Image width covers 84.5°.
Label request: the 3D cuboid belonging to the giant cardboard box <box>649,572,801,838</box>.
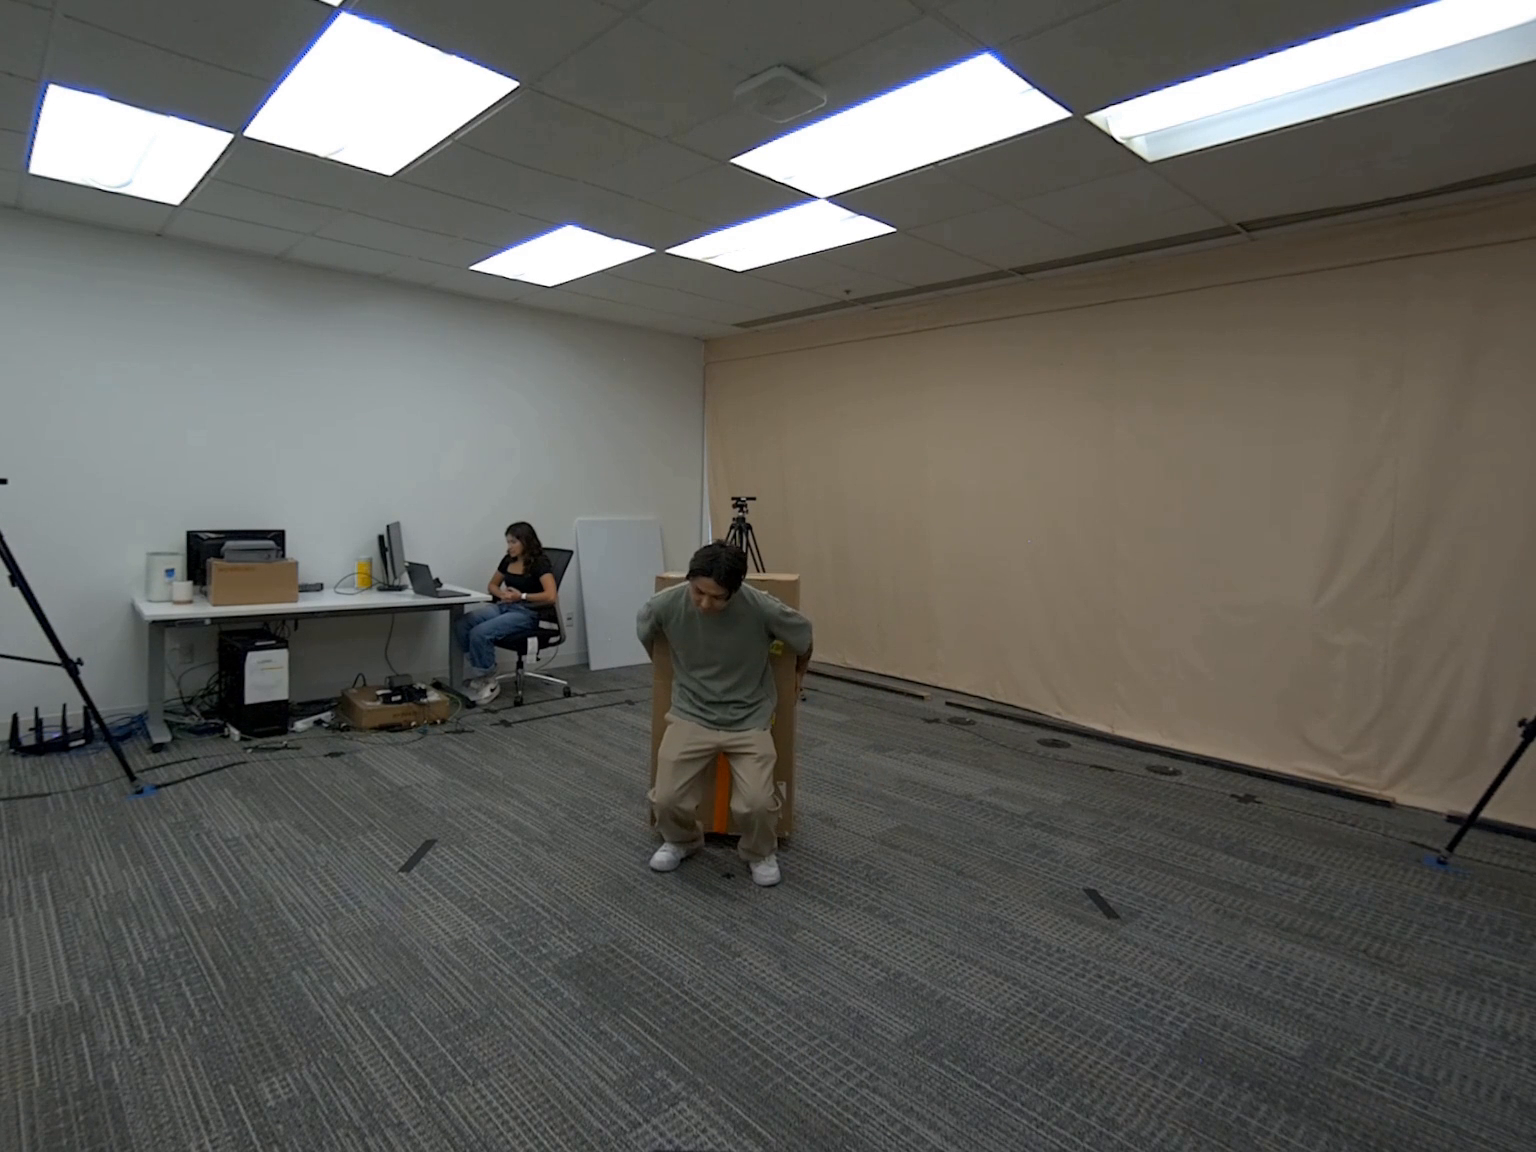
[{"bbox_3d":[-0.178,0.502,3.561,0.579,1.025,0.425,2,1,4],"label":"giant cardboard box"}]
